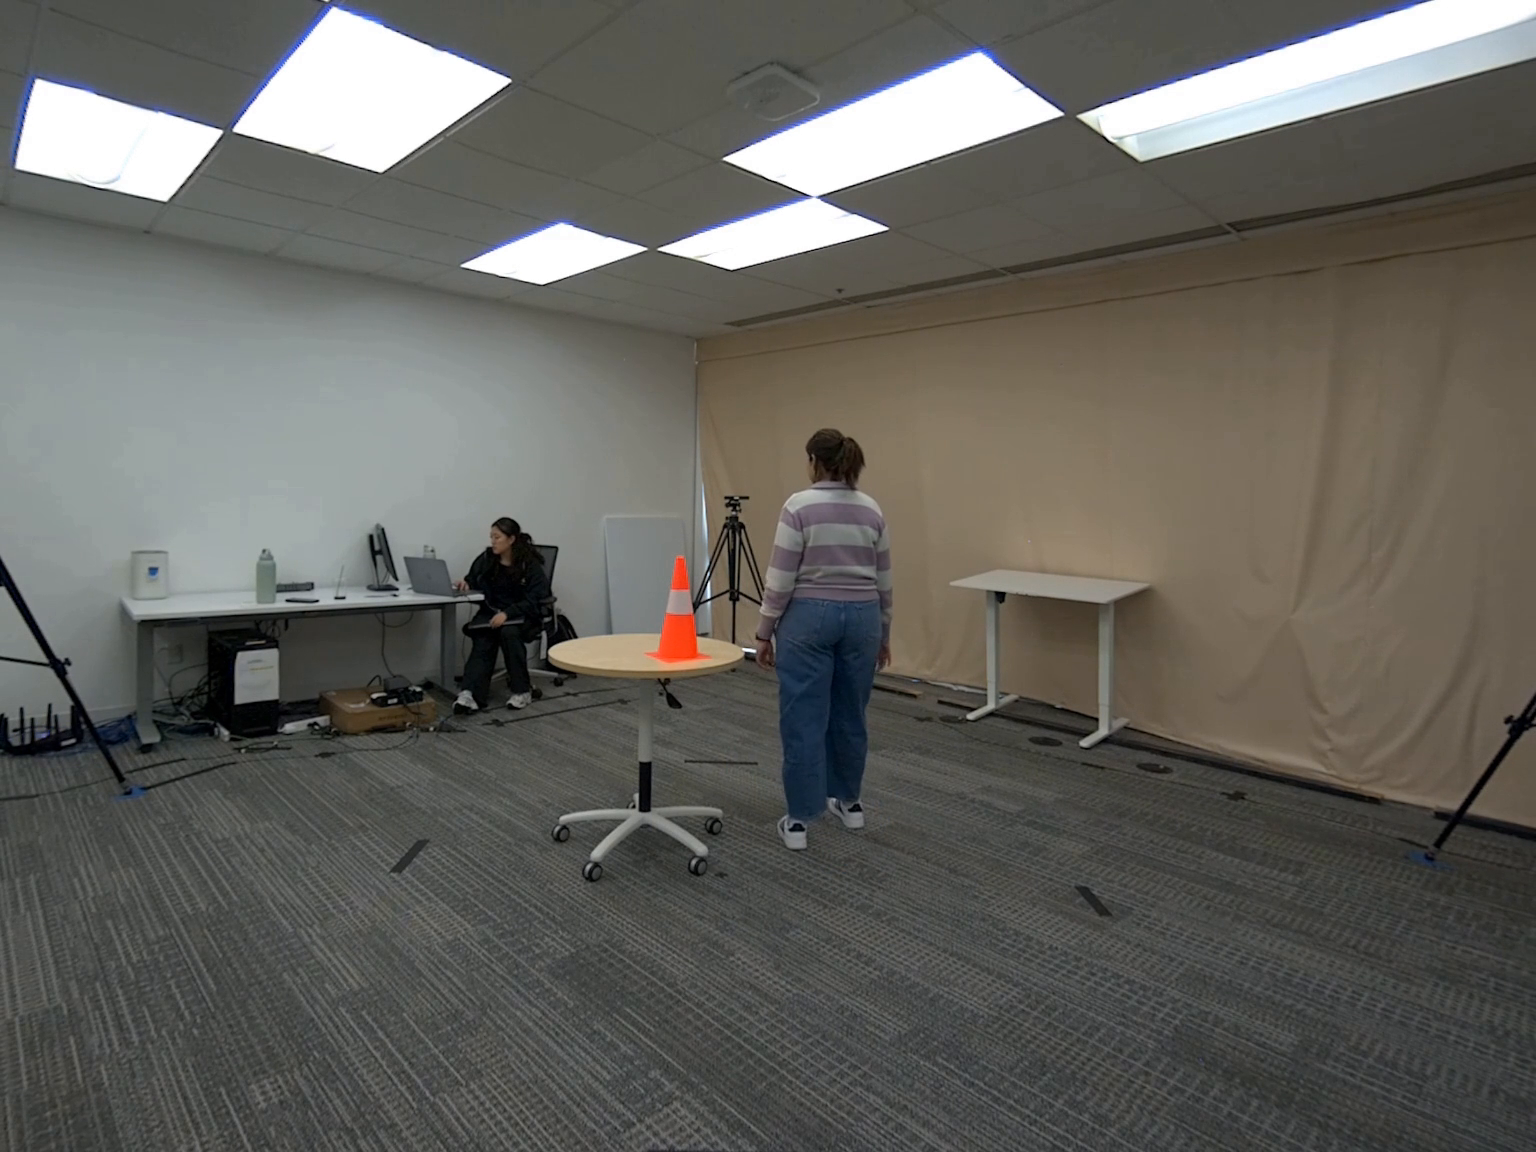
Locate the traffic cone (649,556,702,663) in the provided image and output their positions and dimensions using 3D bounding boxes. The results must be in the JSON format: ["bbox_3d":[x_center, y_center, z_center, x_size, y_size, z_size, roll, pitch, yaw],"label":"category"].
[{"bbox_3d":[-0.342,0.121,3.205,0.208,0.383,0.200,5,5,43],"label":"traffic cone"}]
